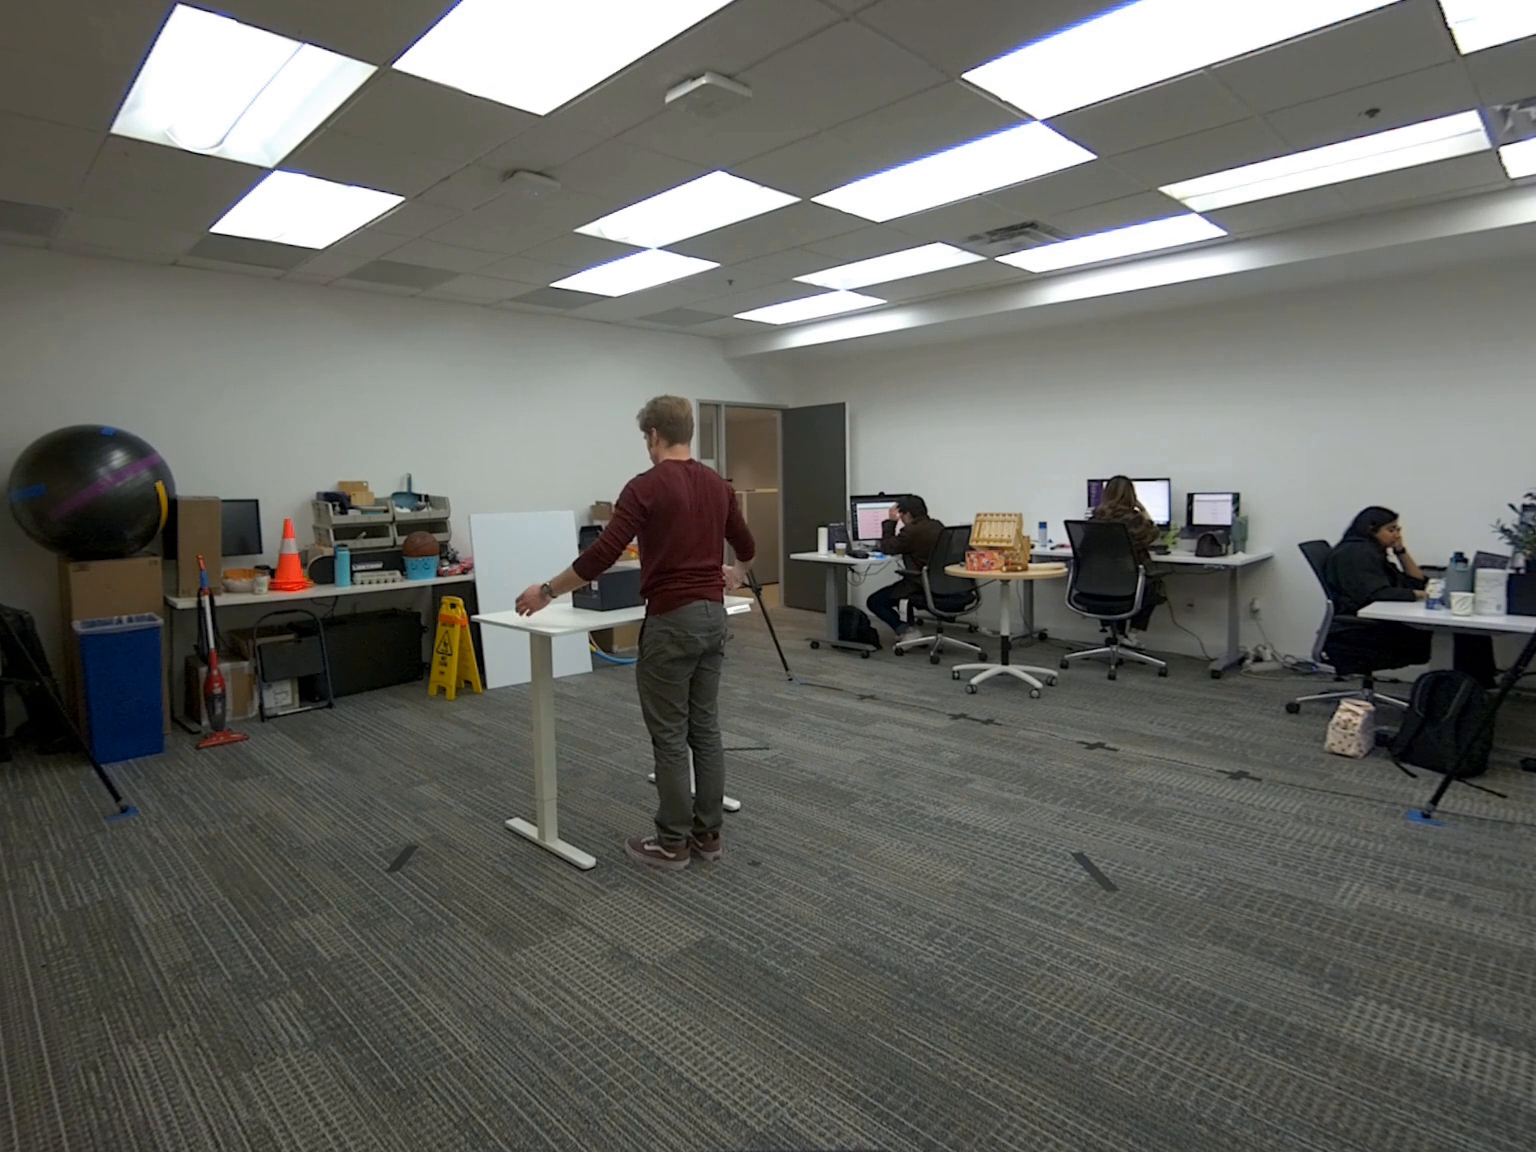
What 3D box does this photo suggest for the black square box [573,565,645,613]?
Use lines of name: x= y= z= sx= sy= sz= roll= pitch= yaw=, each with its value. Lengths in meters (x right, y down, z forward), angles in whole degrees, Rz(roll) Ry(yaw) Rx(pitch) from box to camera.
black square box: x=-0.649 y=0.046 z=3.534 sx=0.223 sy=0.155 sz=0.222 roll=4 pitch=7 yaw=45
